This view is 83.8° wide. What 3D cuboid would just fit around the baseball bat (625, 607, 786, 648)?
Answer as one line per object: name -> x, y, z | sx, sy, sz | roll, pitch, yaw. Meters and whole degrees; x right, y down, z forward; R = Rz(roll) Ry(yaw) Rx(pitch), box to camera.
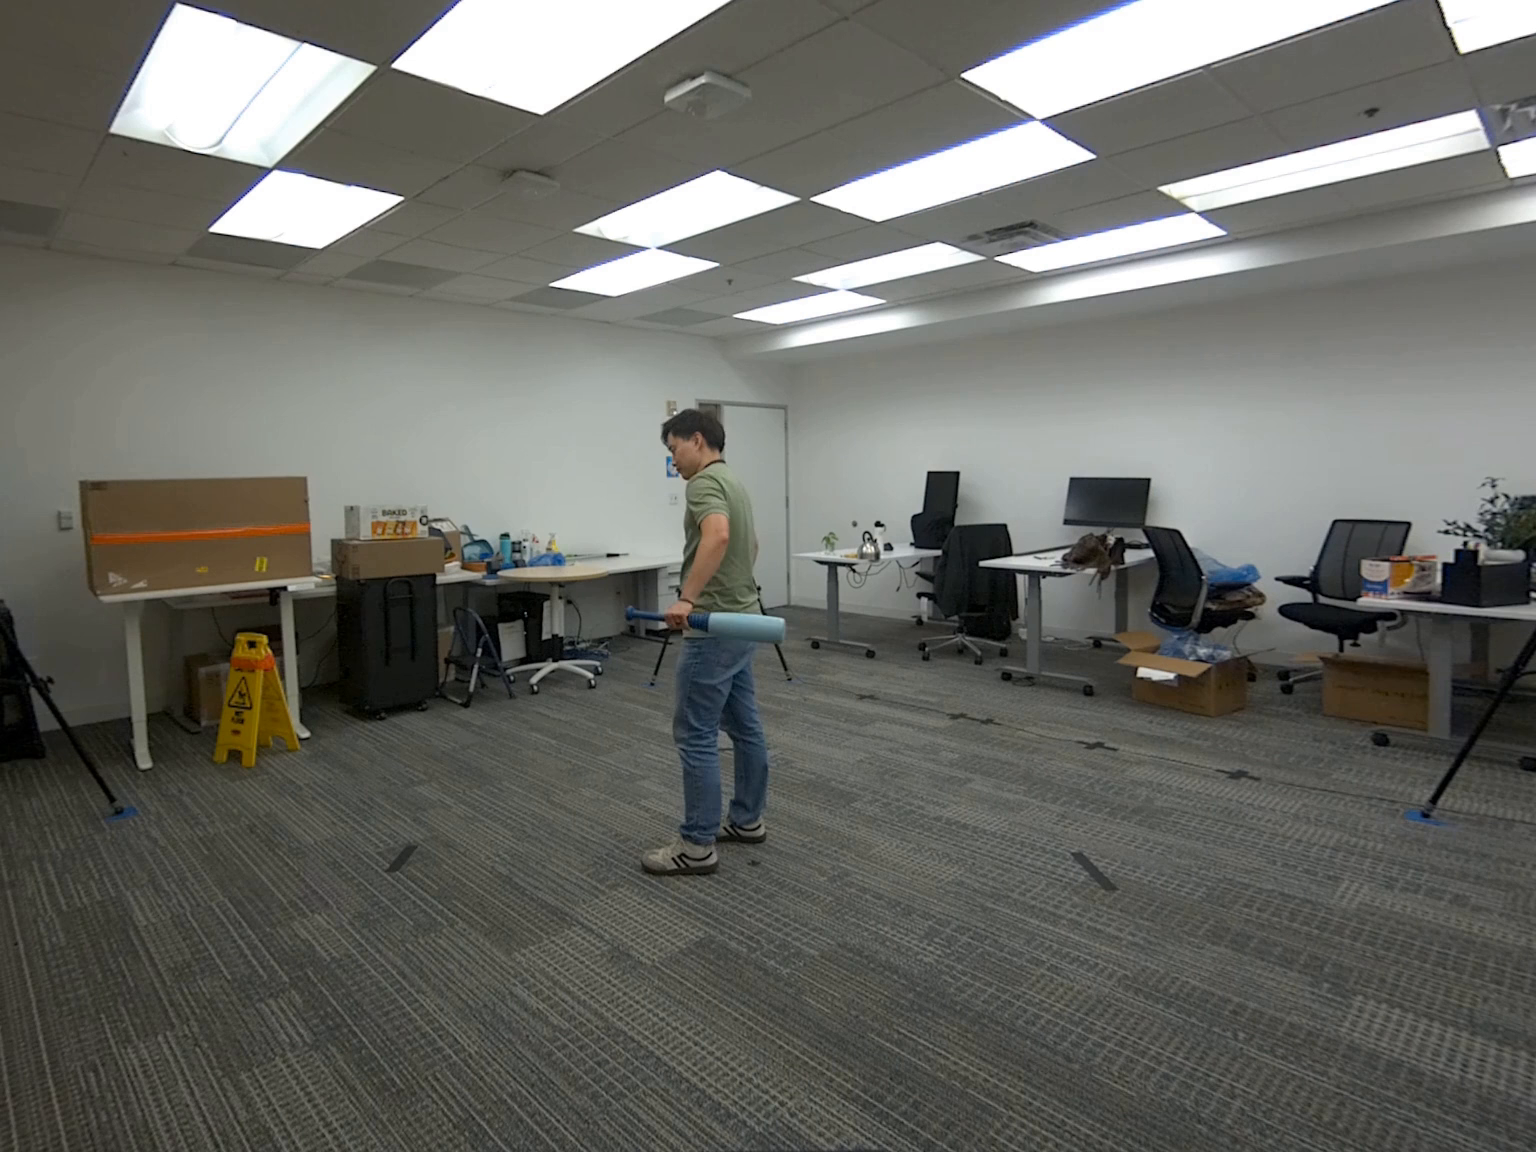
baseball bat -> -0.242, 0.159, 2.835 | 0.549, 0.089, 0.088 | 6, 6, 11
